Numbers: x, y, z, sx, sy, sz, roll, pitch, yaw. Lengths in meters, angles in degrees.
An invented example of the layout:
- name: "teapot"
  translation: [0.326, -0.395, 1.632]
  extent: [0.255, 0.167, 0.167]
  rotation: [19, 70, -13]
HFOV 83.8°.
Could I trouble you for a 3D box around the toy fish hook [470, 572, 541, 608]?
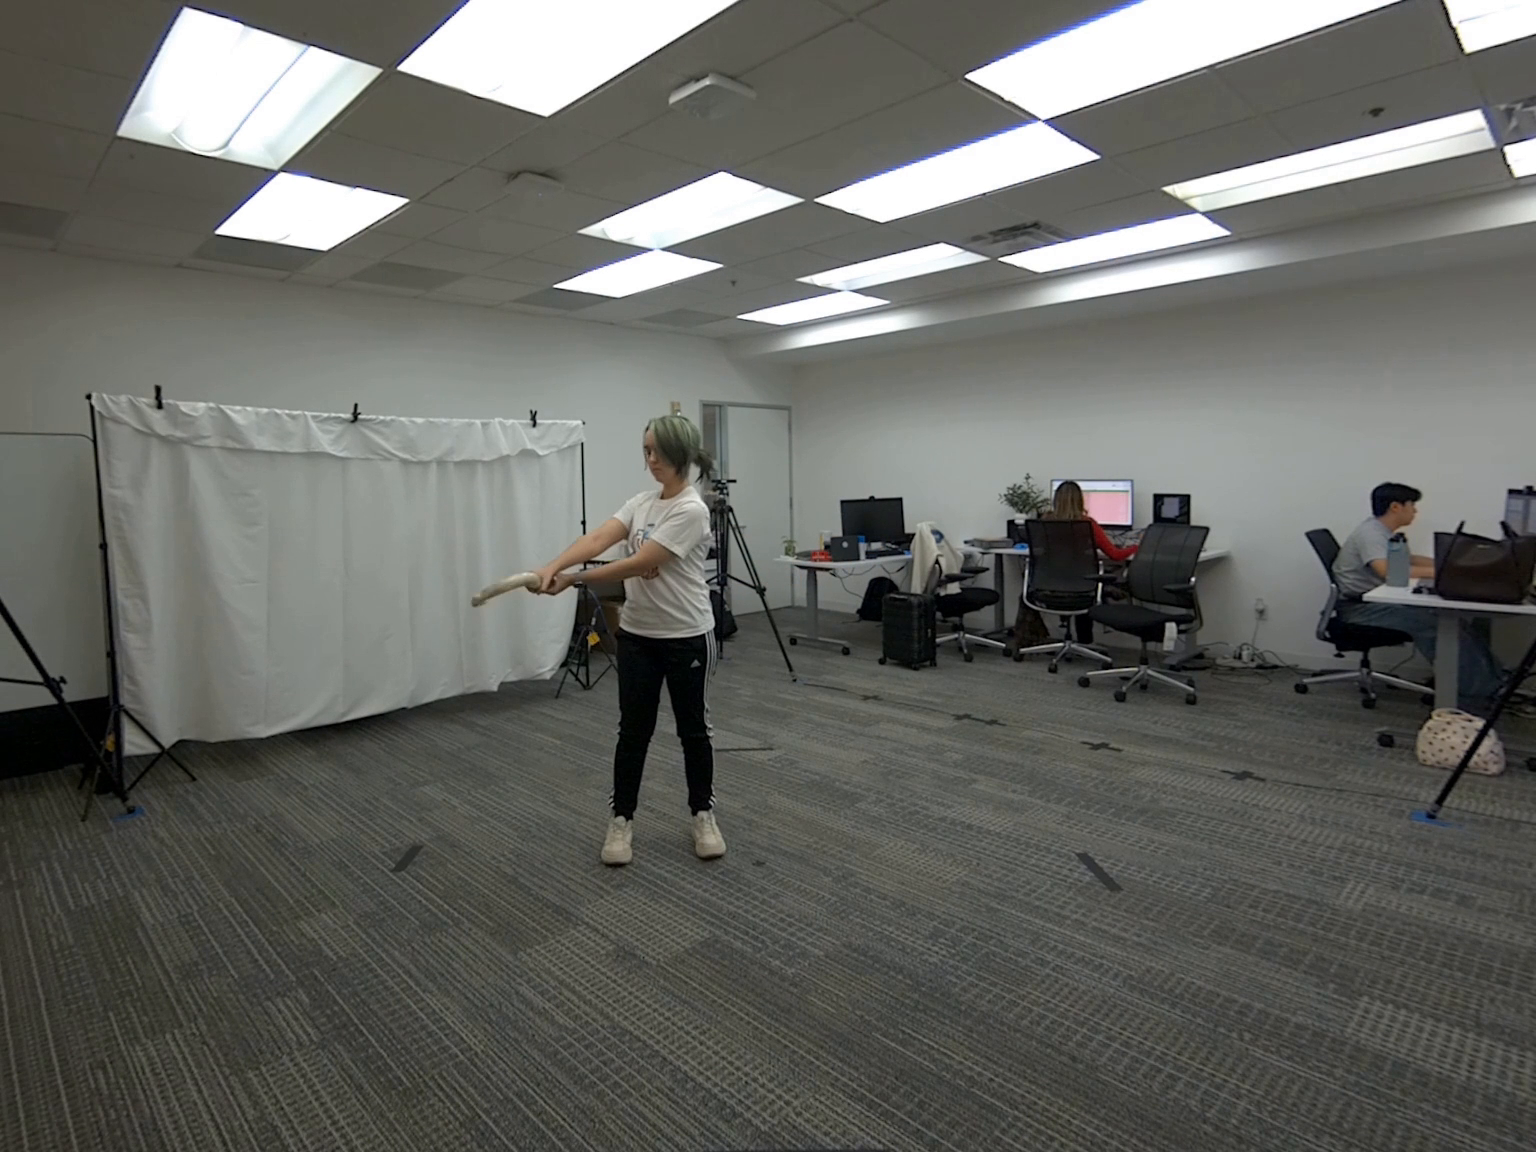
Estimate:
- name: "toy fish hook"
  translation: [-0.824, 0.048, 2.805]
  extent: [0.225, 0.049, 0.501]
  rotation: [-22, -4, 4]
